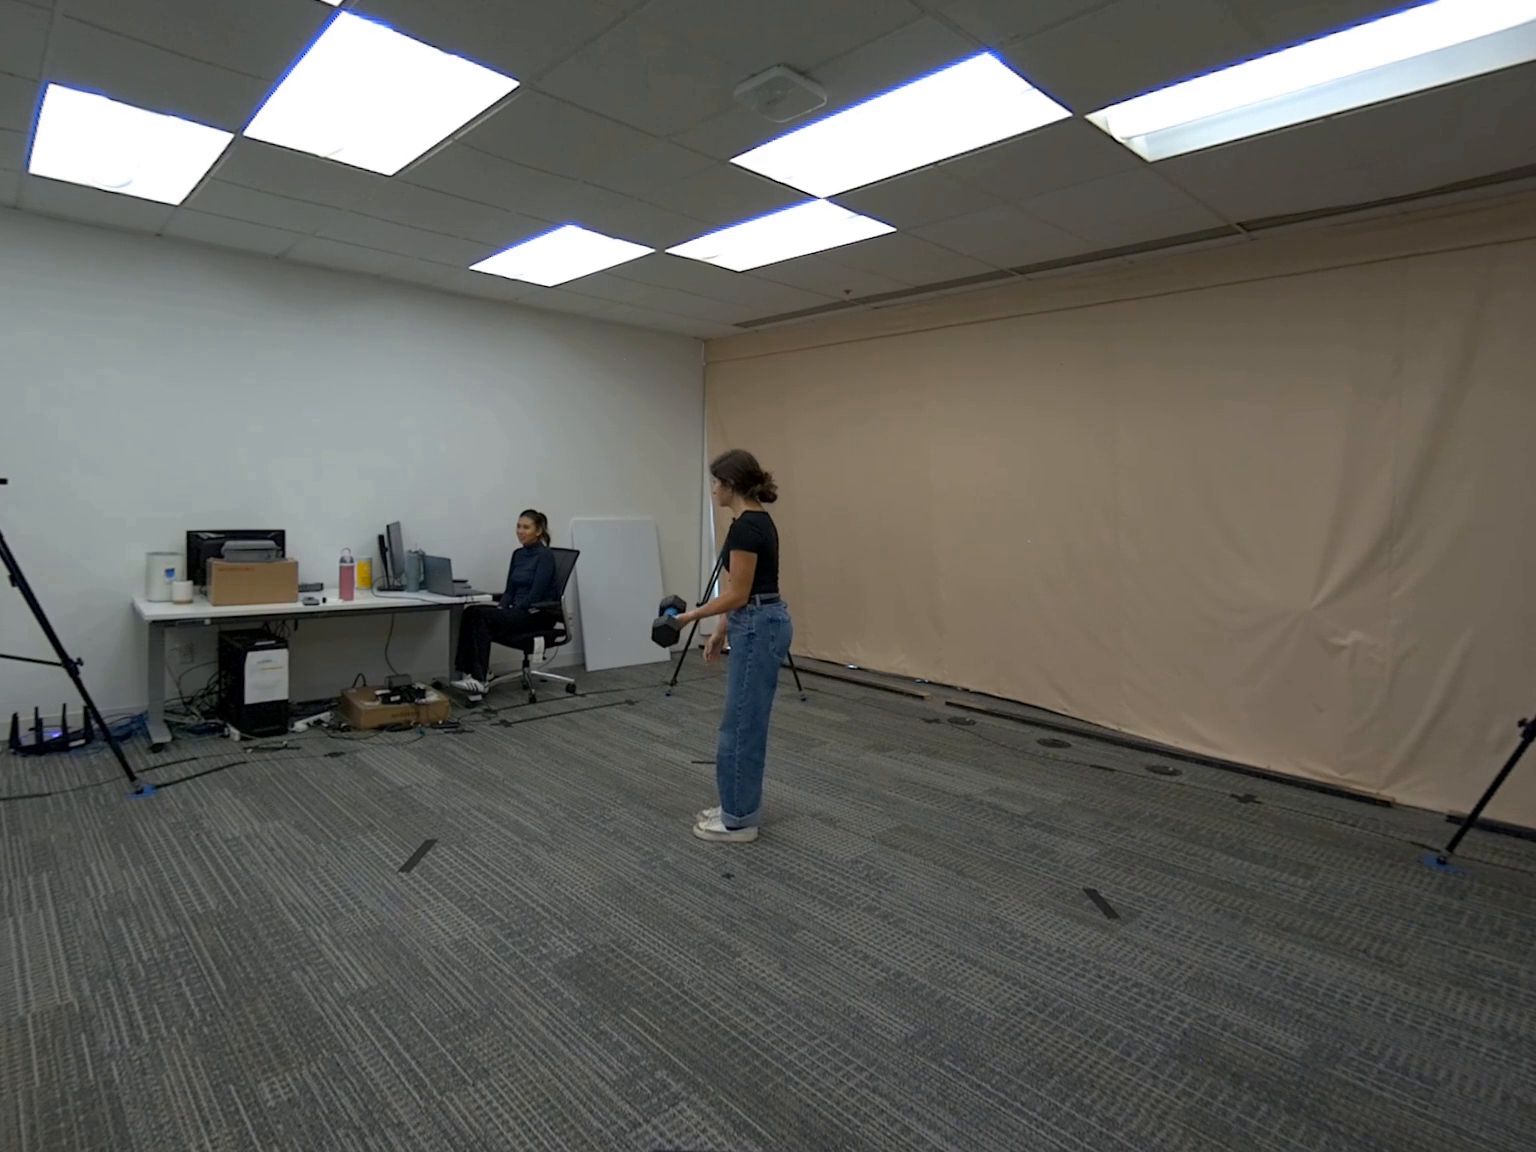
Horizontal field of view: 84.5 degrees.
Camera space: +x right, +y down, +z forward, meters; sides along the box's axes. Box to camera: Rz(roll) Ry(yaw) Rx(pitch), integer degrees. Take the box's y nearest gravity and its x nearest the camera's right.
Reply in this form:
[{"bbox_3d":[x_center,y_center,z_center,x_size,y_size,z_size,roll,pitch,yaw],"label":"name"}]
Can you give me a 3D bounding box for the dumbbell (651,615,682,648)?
[{"bbox_3d":[-0.396,0.170,3.379,0.123,0.107,0.296,-20,15,8],"label":"dumbbell"}]
